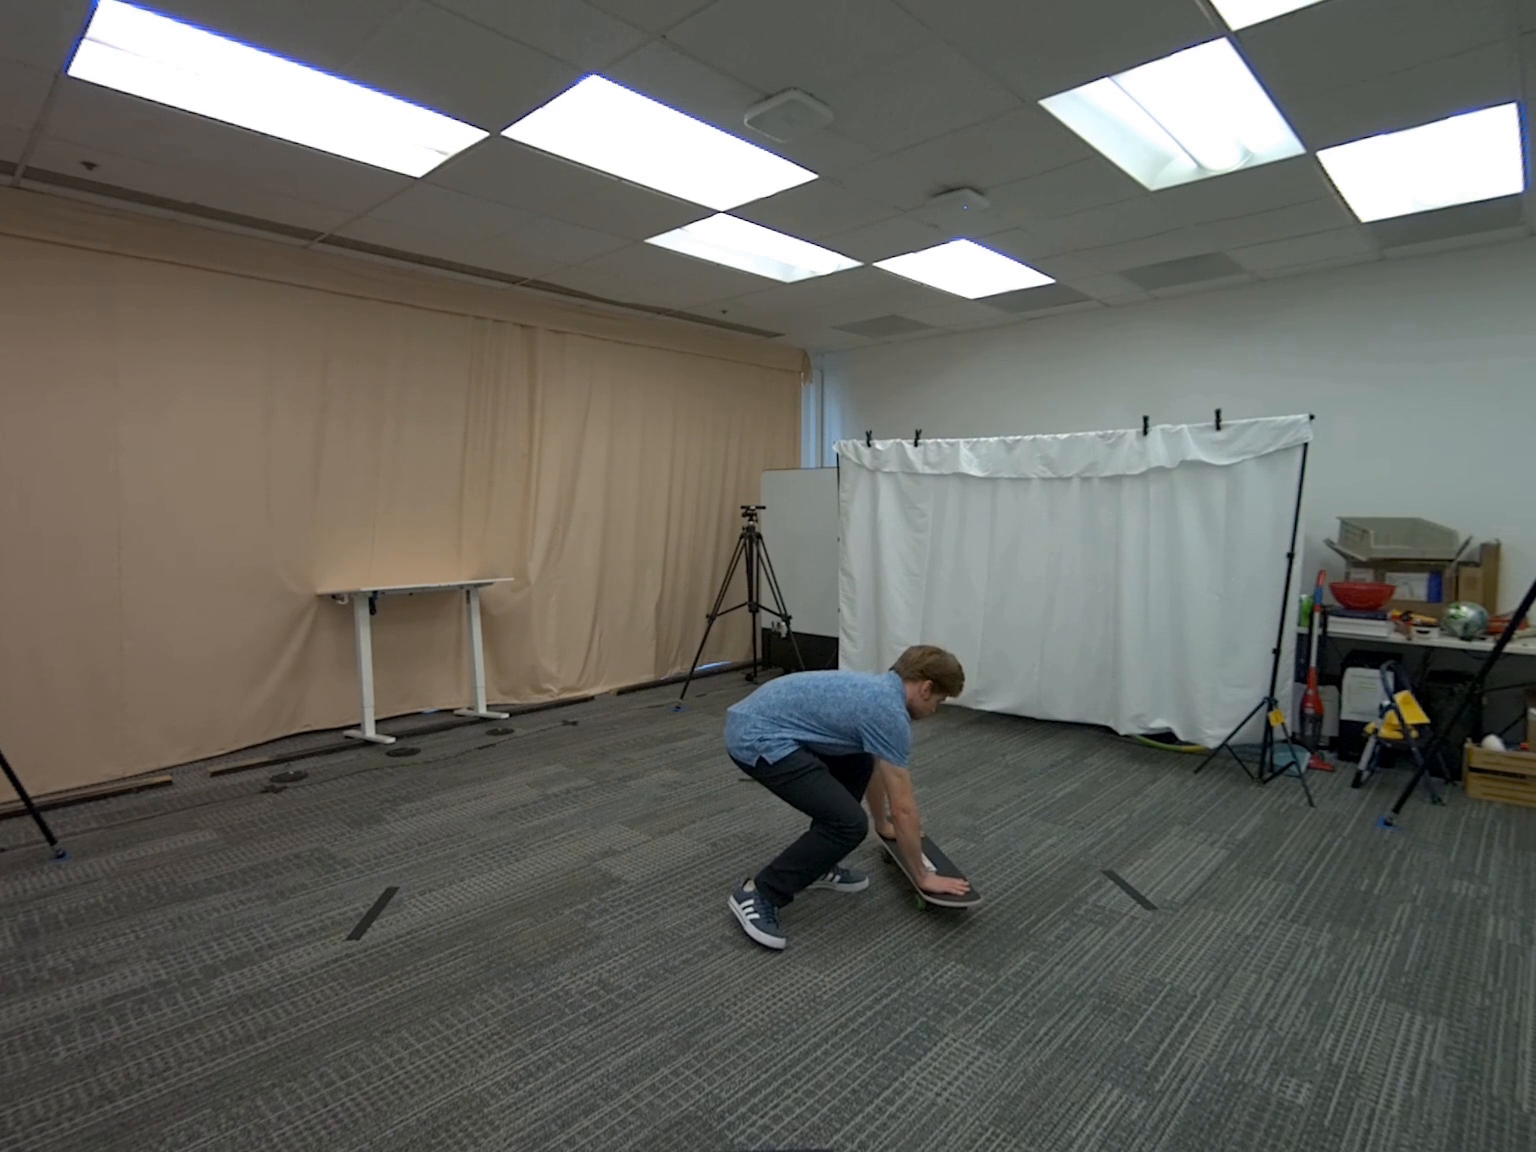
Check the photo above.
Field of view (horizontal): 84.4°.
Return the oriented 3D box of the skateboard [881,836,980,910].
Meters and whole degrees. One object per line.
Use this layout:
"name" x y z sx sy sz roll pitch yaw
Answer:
"skateboard" 0.573 1.073 3.101 0.192 0.110 0.793 1 5 -9
